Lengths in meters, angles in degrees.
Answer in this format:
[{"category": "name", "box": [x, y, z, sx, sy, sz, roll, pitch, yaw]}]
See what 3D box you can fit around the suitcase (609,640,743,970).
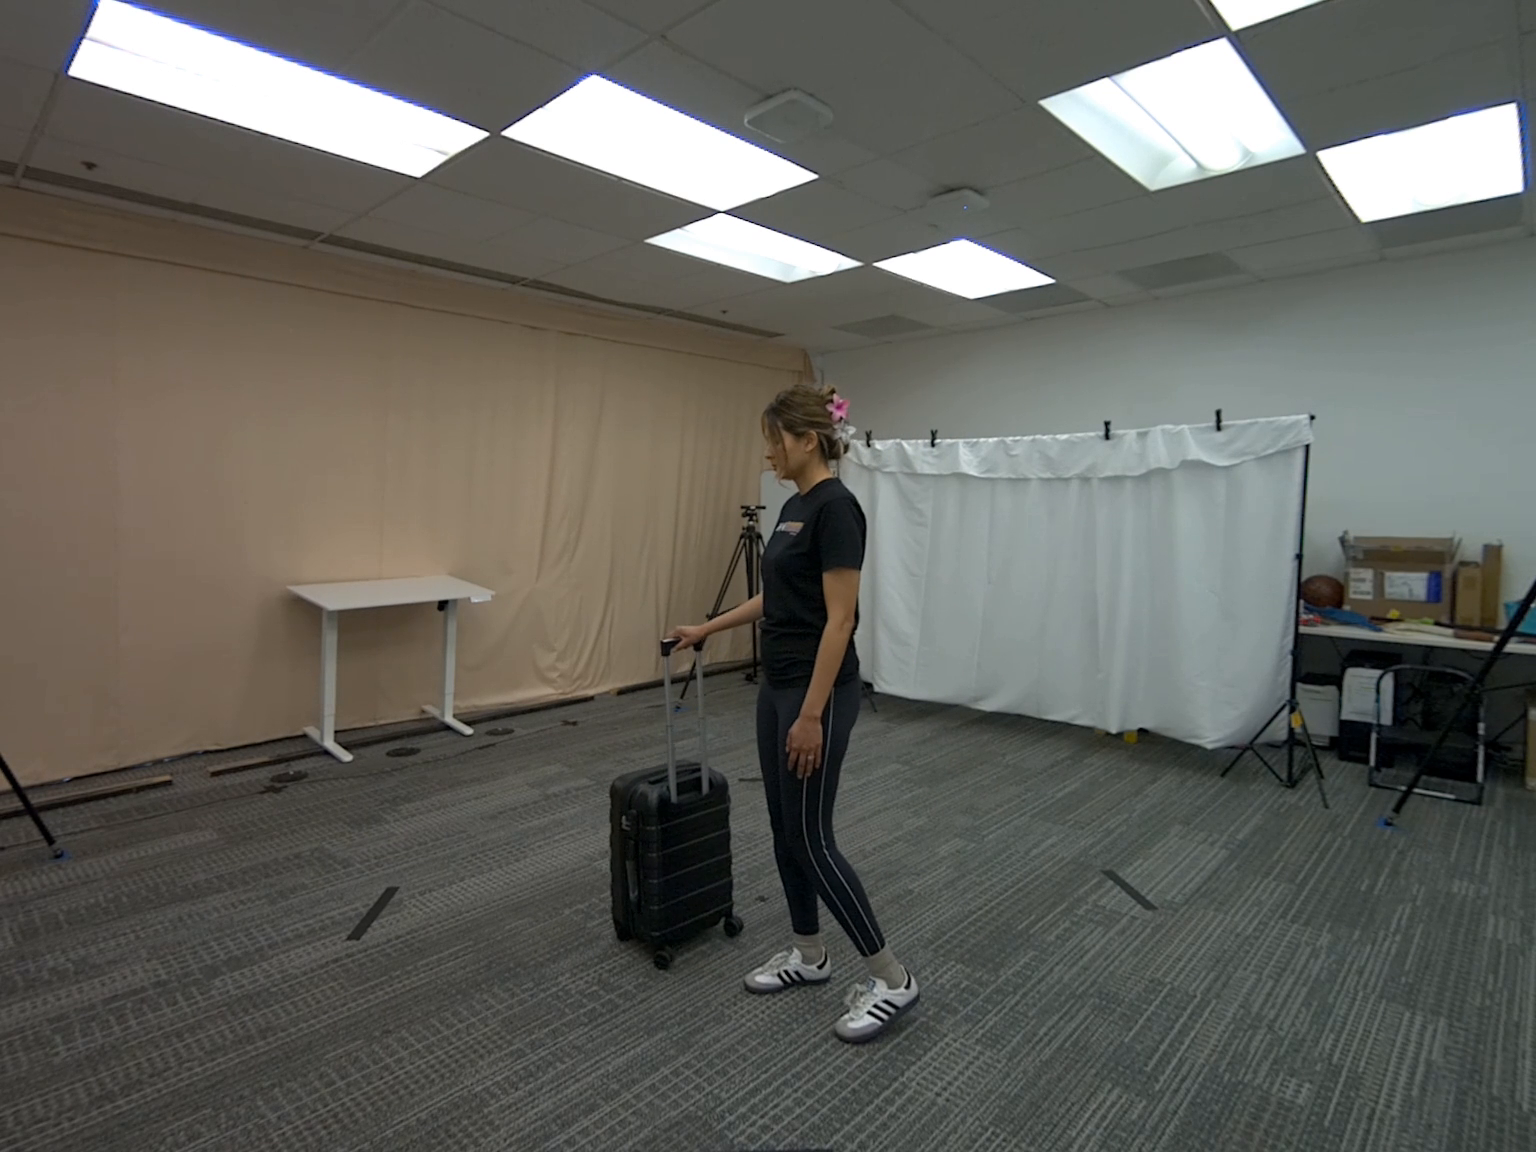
[{"category": "suitcase", "box": [-0.320, 0.692, 2.708, 0.372, 0.977, 0.265, -4, 2, -40]}]
